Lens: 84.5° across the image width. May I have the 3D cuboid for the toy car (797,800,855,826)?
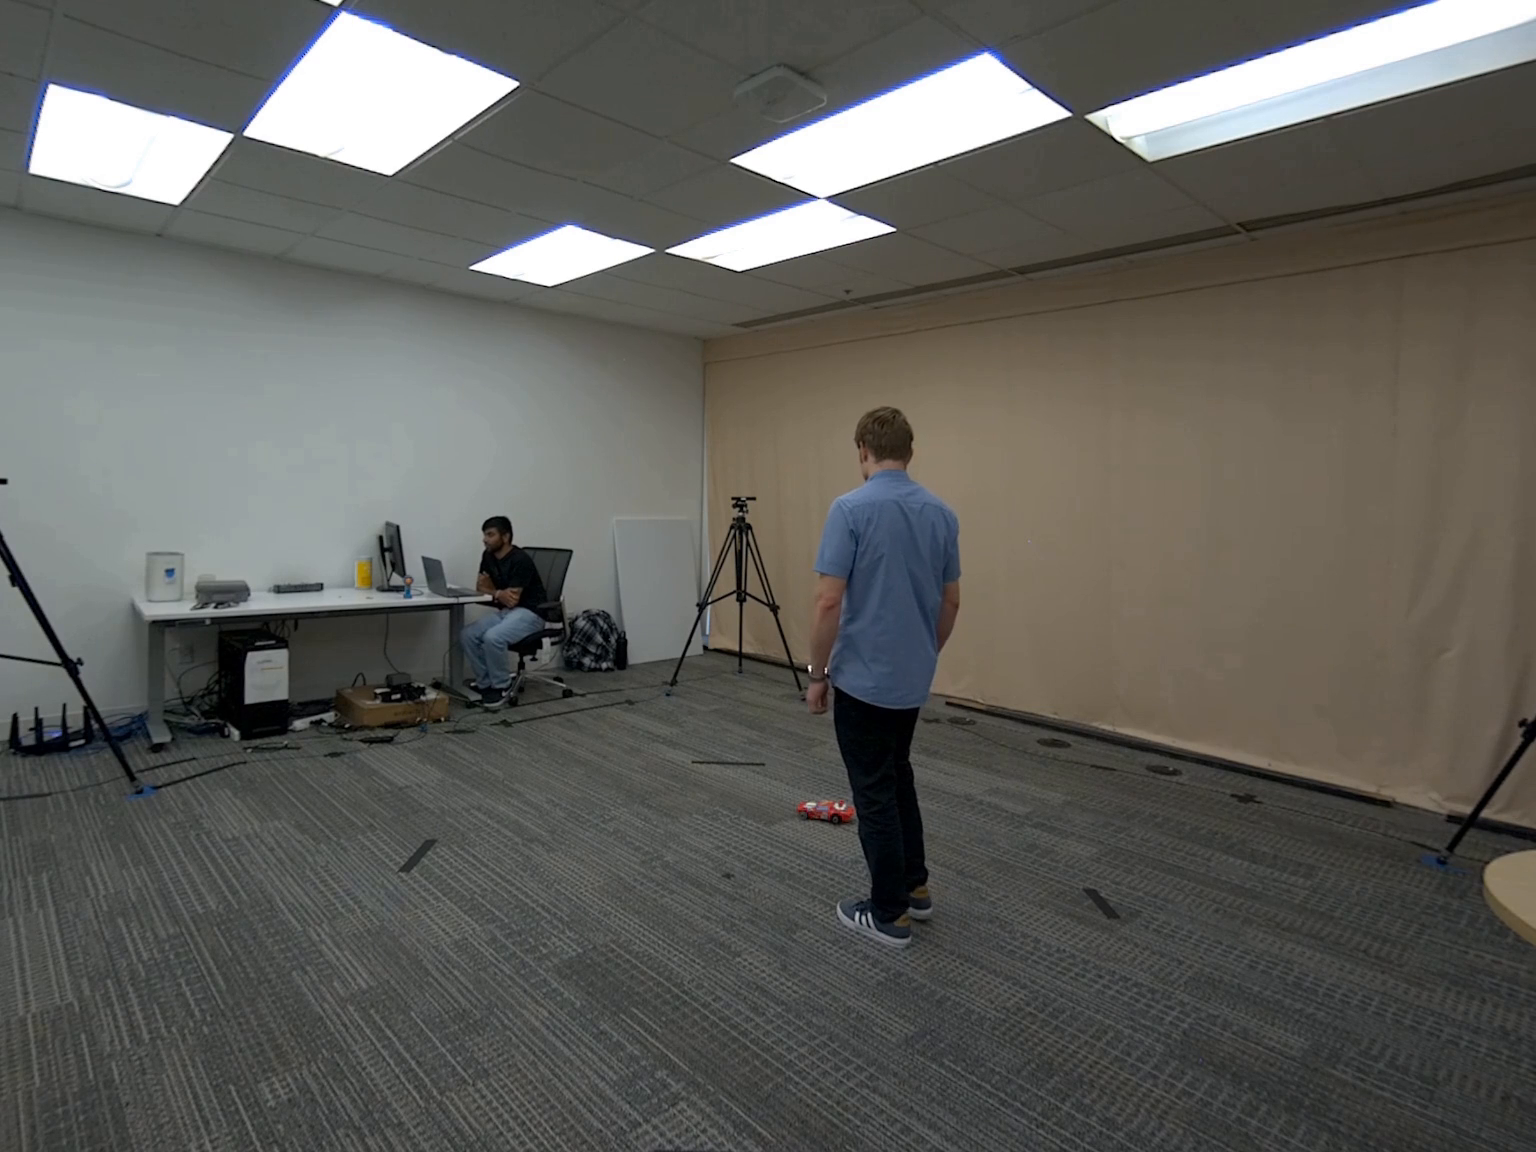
[{"bbox_3d":[0.253,1.035,3.697,0.257,0.083,0.129,-8,1,18],"label":"toy car"}]
